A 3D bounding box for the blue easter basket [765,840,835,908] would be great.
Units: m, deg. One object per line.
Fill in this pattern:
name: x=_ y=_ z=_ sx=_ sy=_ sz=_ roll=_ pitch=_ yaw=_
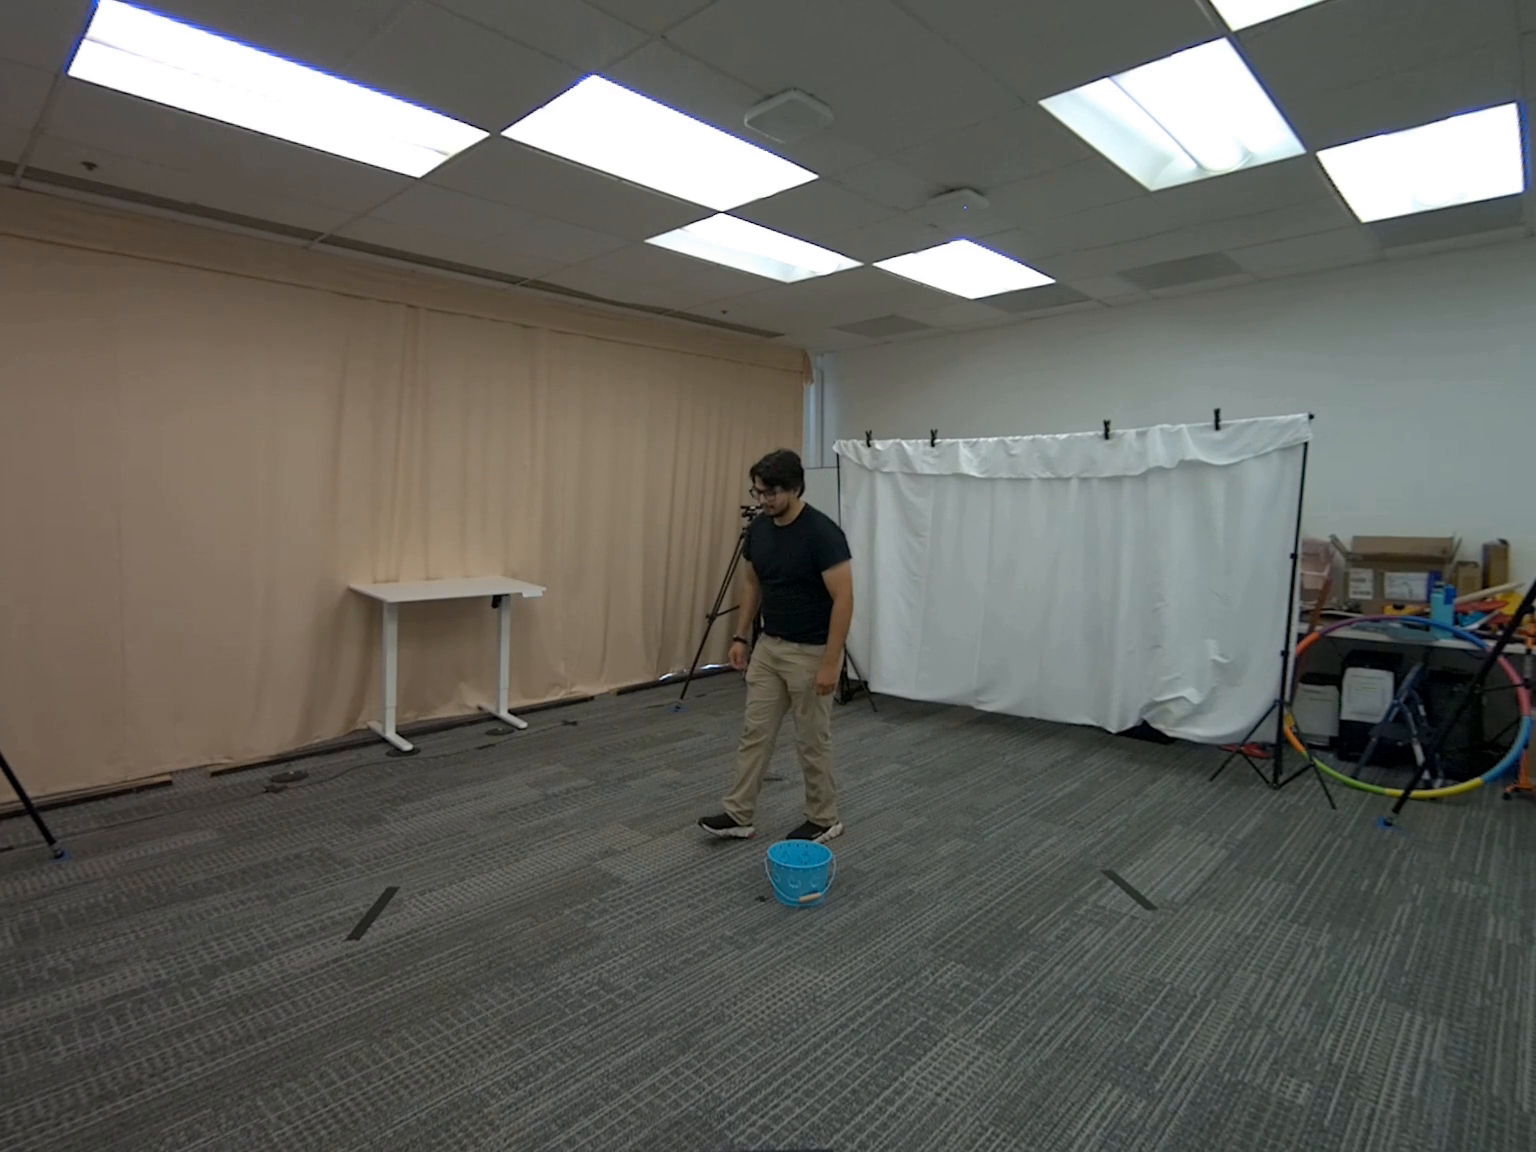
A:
blue easter basket: x=0.110 y=1.061 z=3.002 sx=0.243 sy=0.155 sz=0.244 roll=0 pitch=4 yaw=-2
